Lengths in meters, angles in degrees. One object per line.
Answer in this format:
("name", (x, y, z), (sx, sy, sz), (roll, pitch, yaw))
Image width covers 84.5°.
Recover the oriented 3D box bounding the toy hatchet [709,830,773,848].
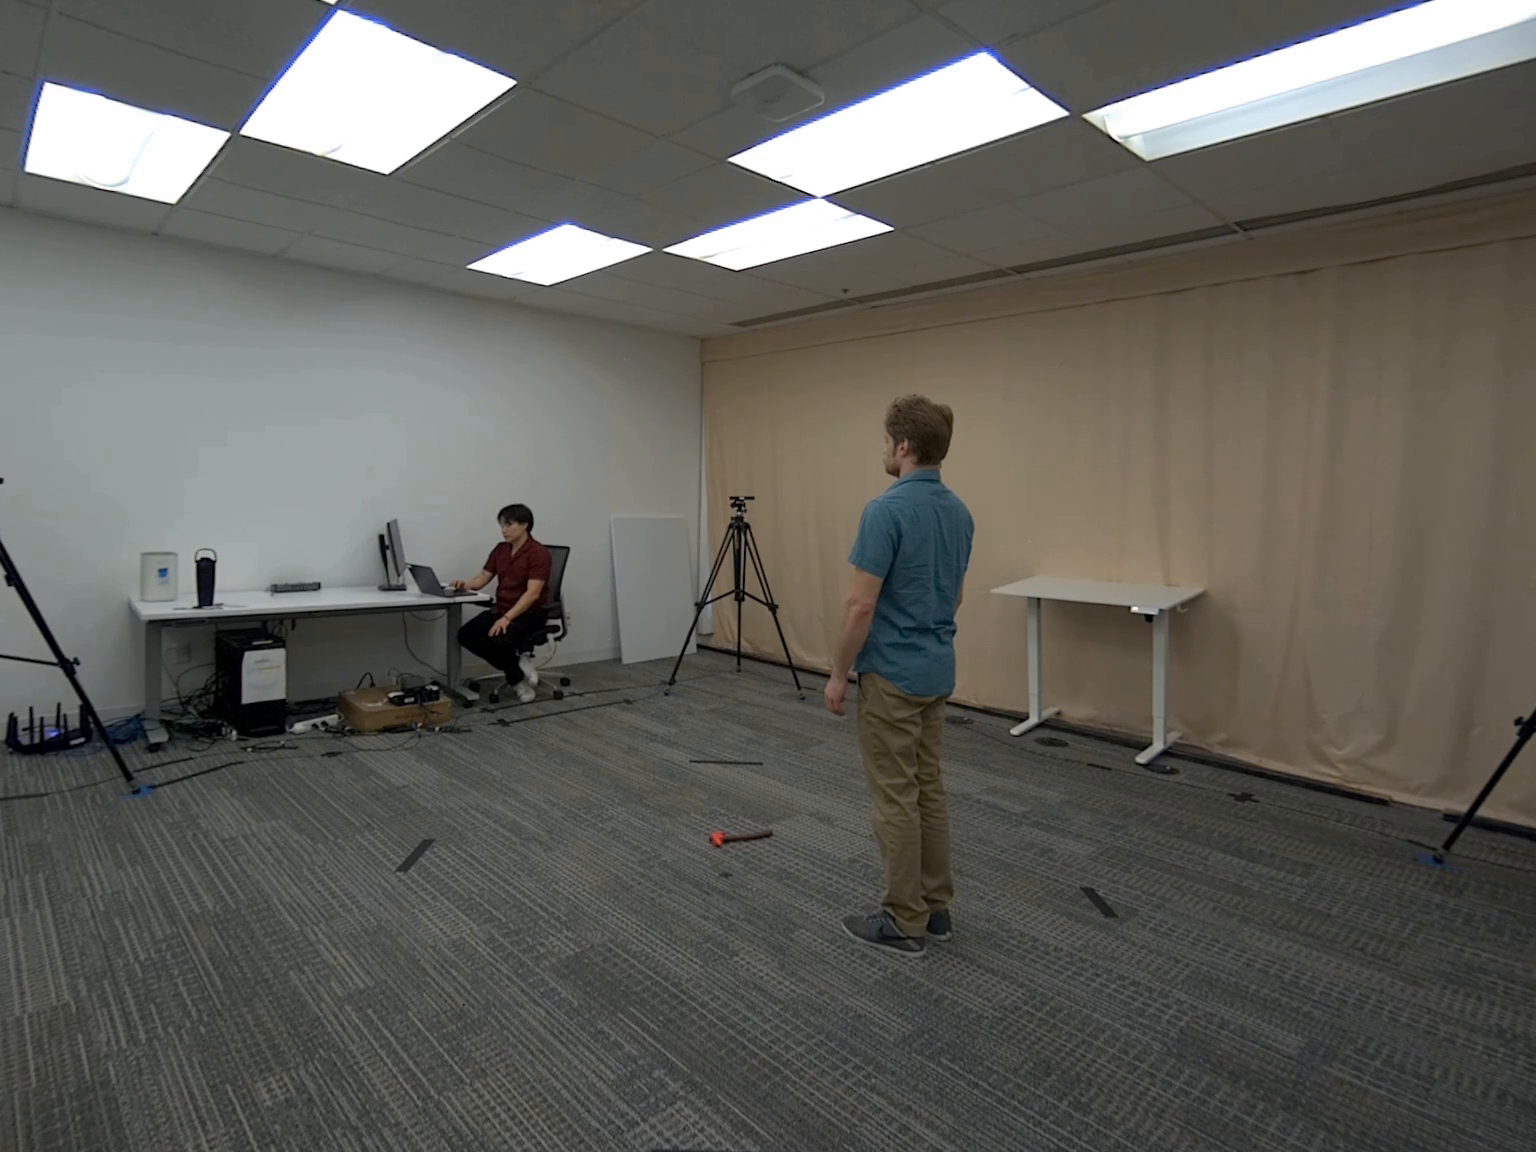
("toy hatchet", (-0.133, 1.062, 3.454), (0.264, 0.029, 0.134), (0, 2, -34))
